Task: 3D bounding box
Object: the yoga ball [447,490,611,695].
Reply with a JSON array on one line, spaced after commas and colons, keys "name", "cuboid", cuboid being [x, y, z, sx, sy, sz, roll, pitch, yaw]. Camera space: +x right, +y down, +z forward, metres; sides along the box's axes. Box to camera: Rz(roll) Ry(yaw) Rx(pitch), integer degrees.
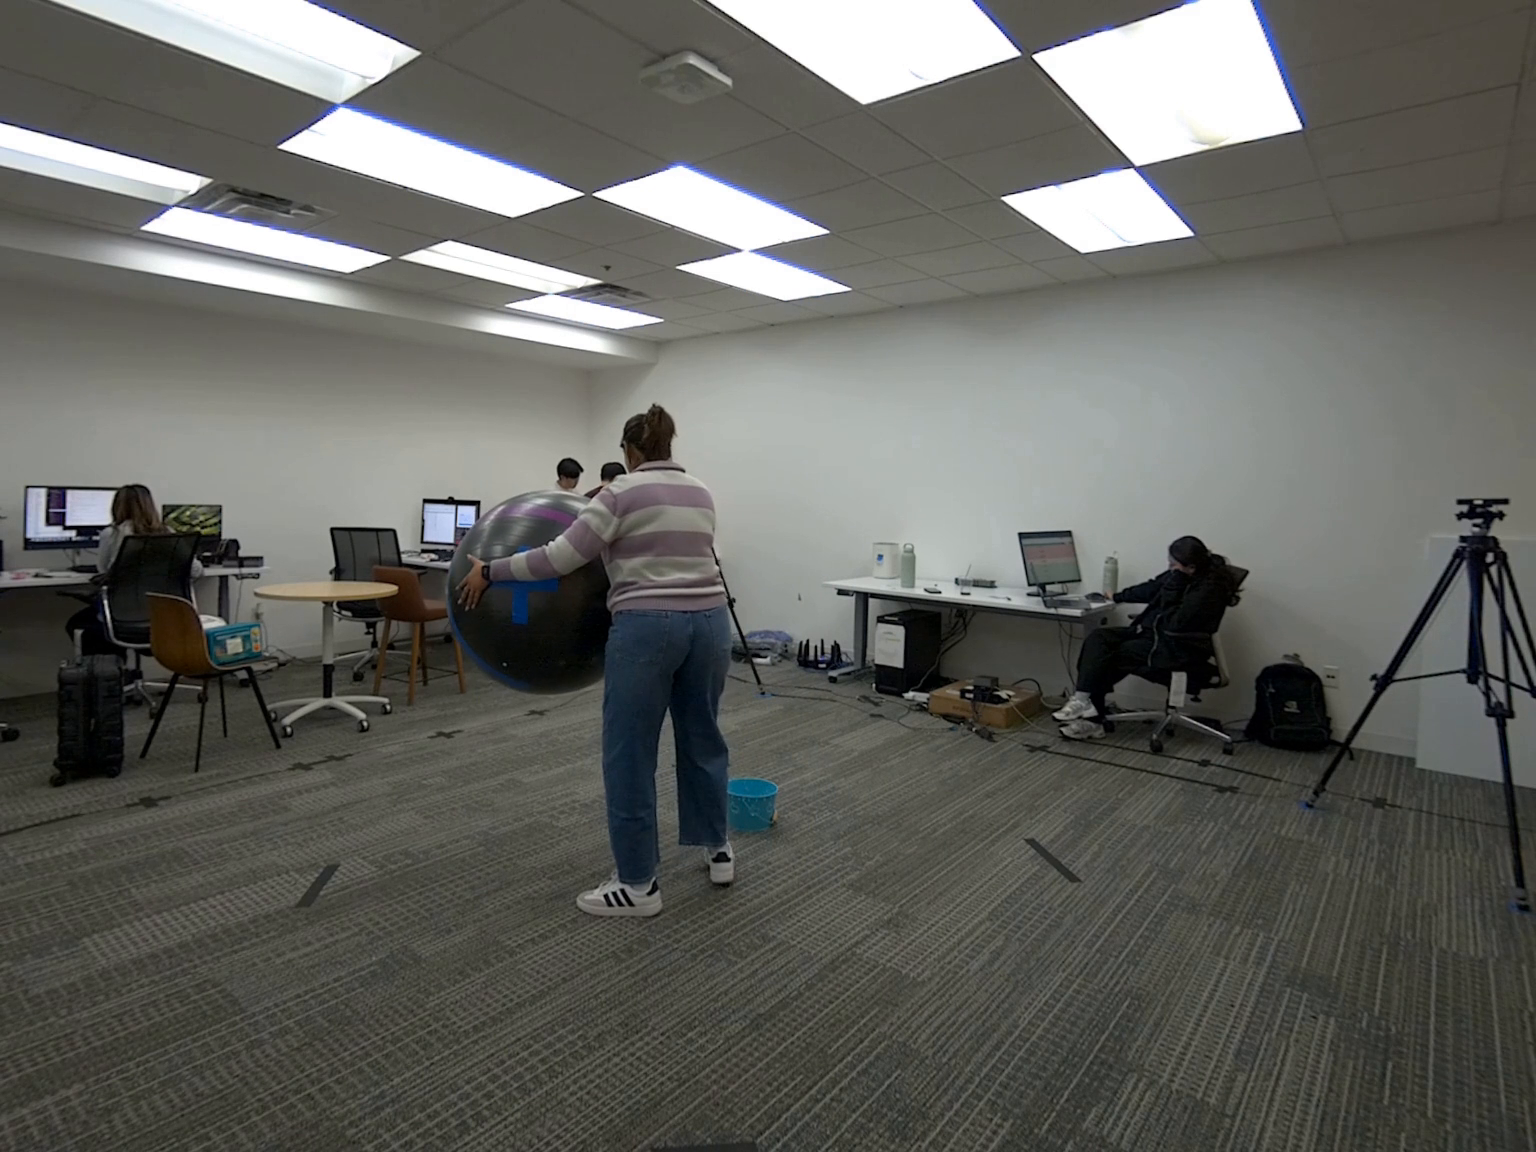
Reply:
[{"name": "yoga ball", "cuboid": [-0.829, 0.061, 3.195, 0.757, 0.756, 0.761, 1, 4, -2]}]
